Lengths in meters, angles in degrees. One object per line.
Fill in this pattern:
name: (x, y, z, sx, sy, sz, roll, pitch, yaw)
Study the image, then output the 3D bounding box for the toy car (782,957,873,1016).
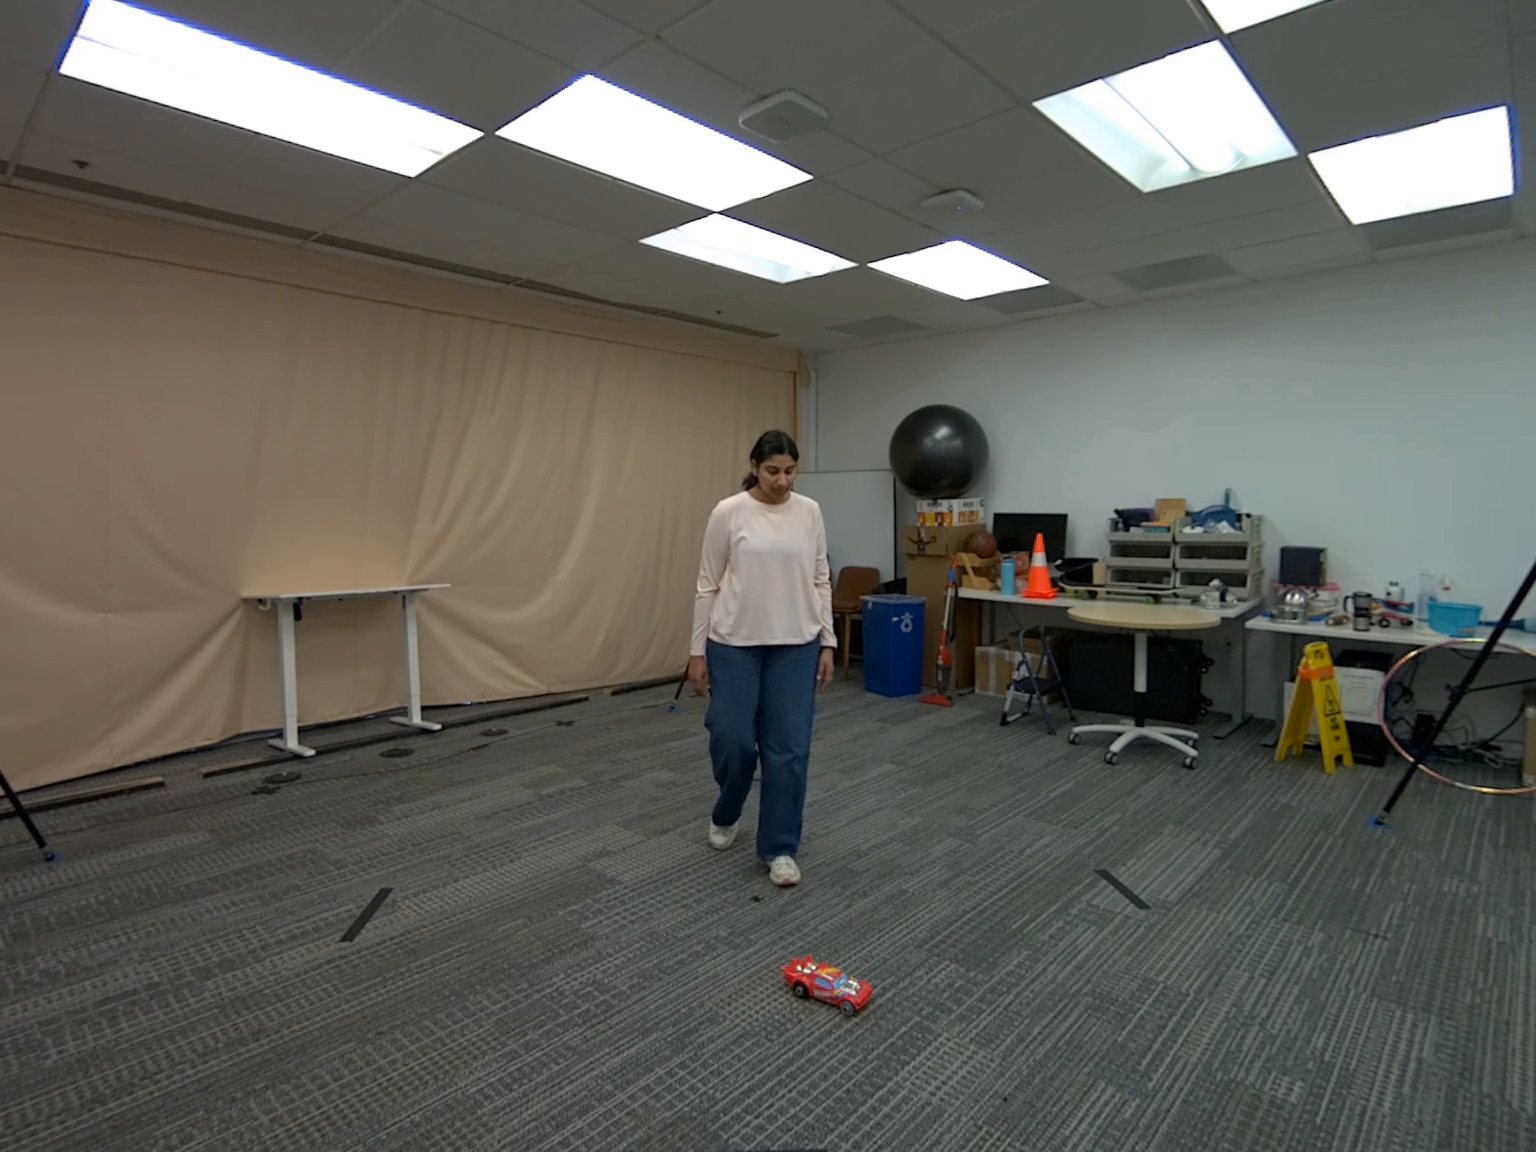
toy car: (0.165, 1.159, 2.393, 0.263, 0.083, 0.127, 16, 13, 32)
